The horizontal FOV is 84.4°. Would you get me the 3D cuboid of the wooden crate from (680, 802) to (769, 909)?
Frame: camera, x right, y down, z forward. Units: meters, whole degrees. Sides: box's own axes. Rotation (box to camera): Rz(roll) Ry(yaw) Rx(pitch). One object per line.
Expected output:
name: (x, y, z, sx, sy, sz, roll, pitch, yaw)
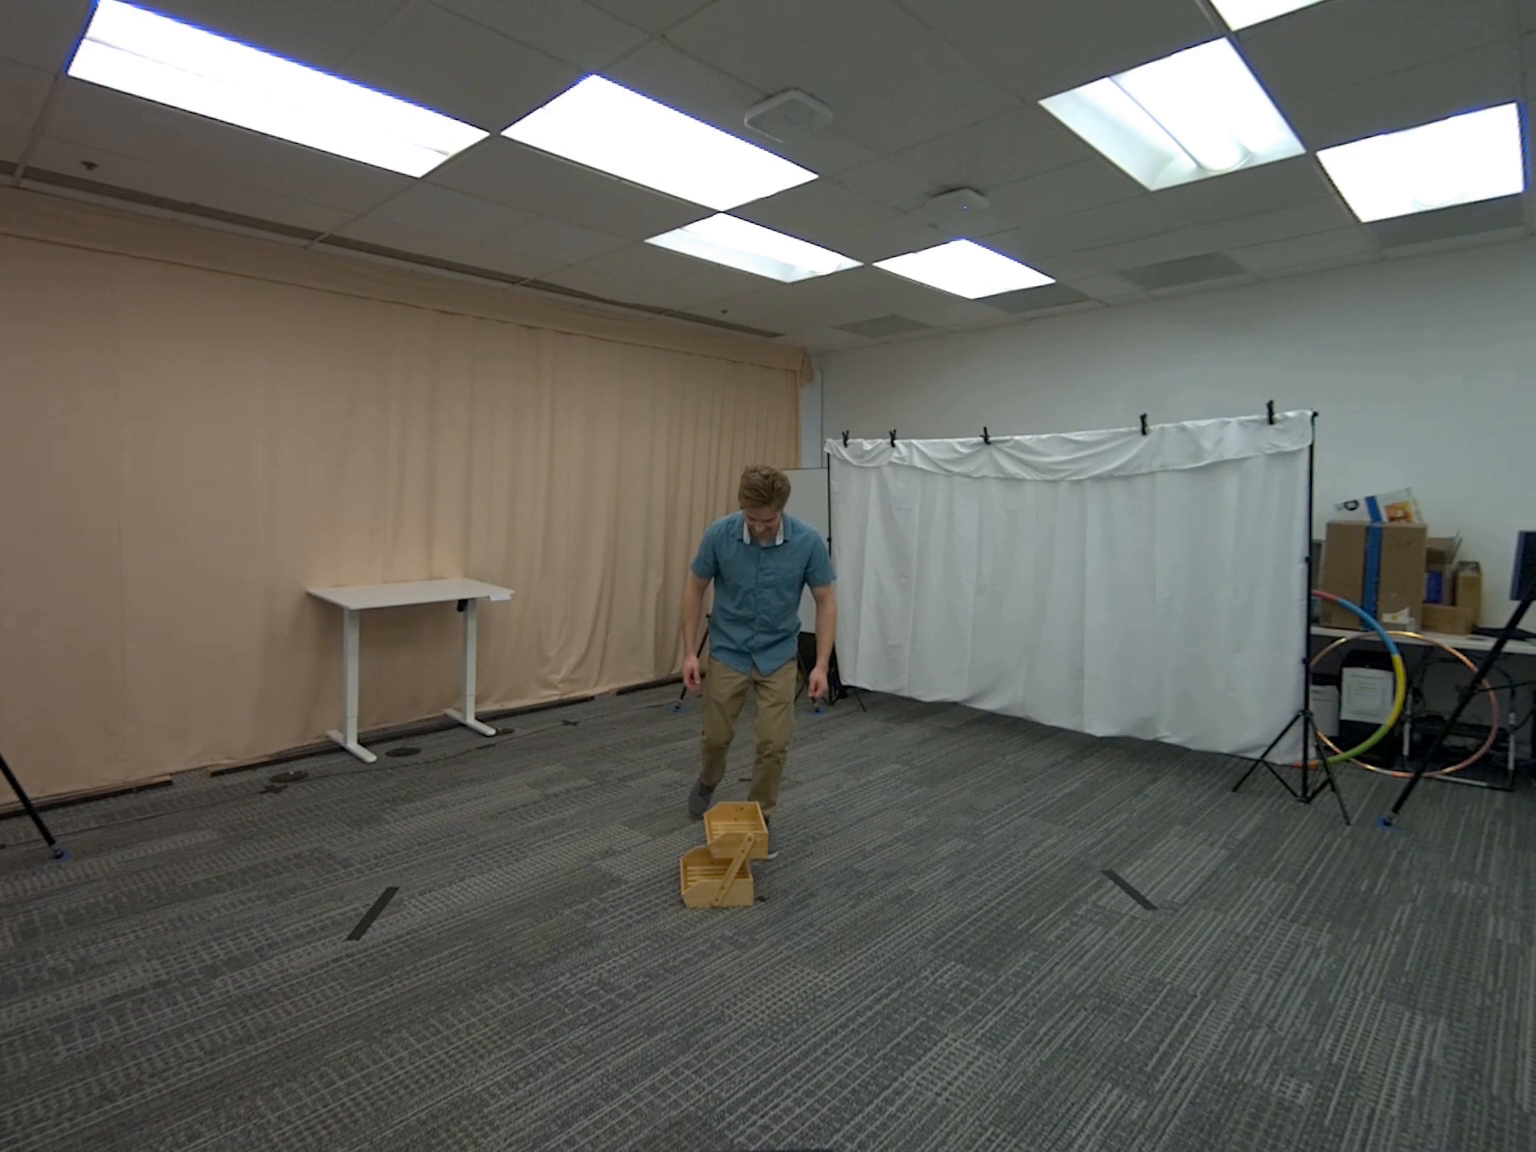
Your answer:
wooden crate: (-0.166, 1.006, 3.067, 0.300, 0.272, 0.327, -1, 5, -7)
